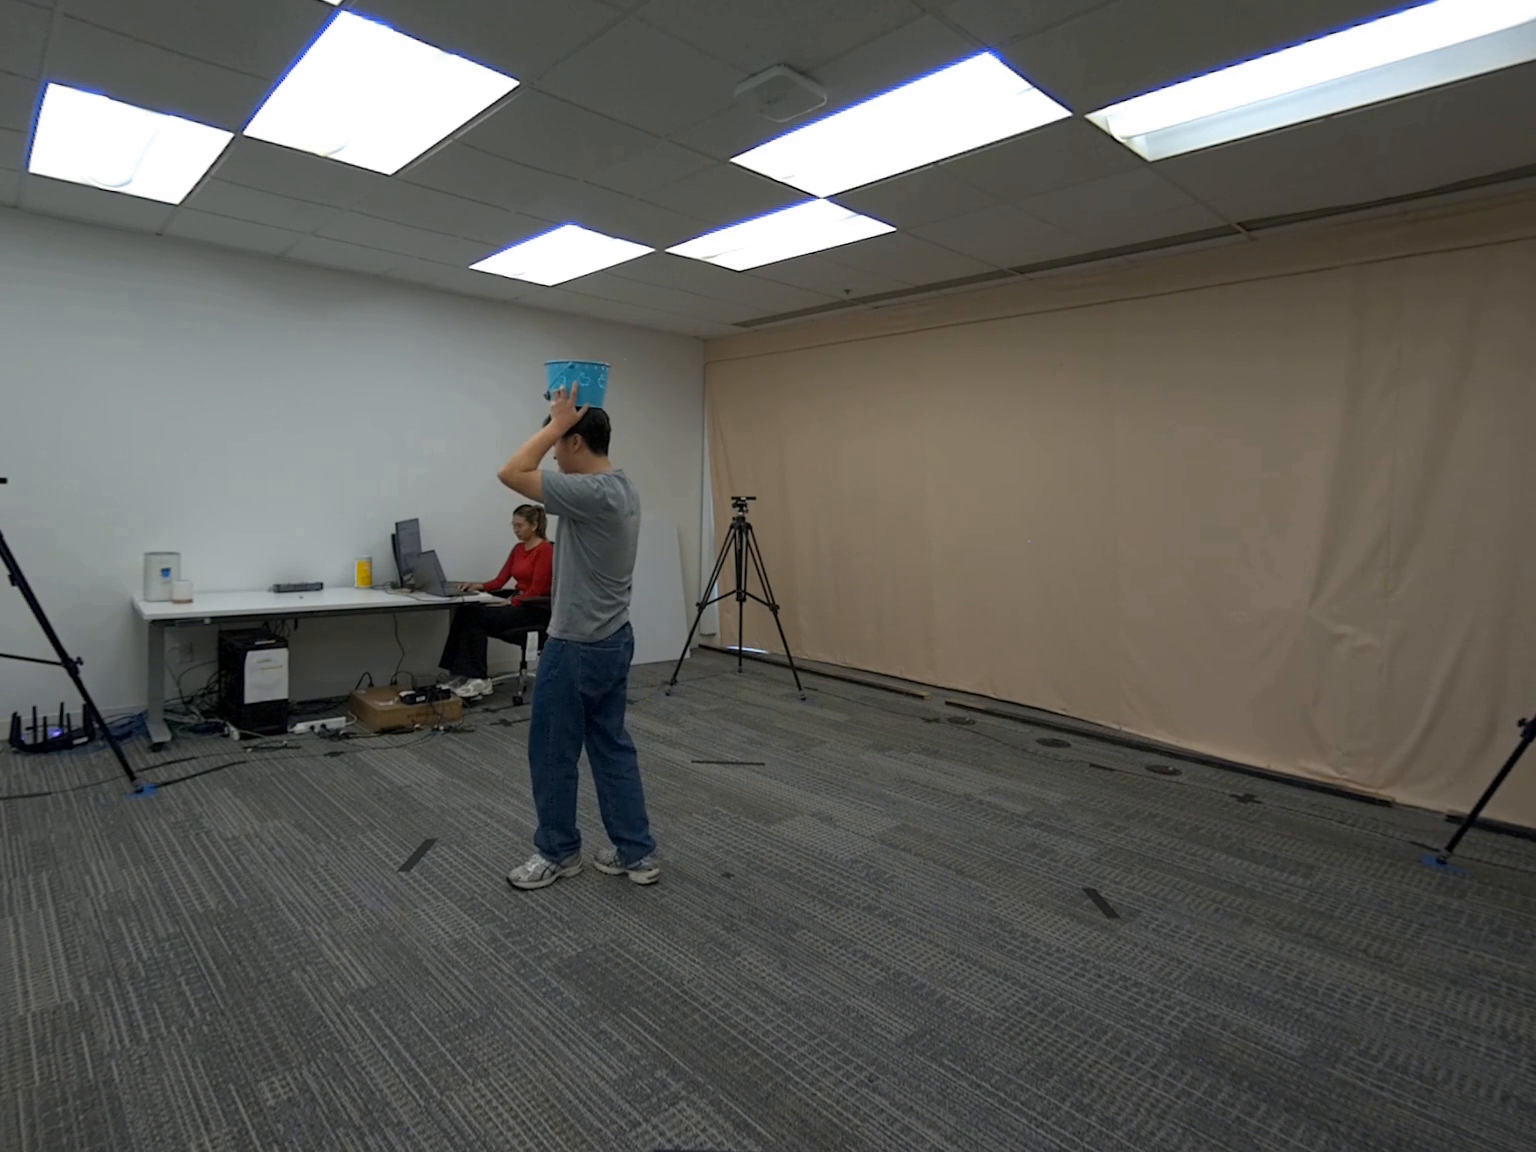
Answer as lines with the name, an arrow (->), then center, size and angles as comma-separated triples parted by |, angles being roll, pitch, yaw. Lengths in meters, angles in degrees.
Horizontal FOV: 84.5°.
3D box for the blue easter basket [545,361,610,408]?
blue easter basket -> -0.695, -0.676, 2.972 | 0.243, 0.155, 0.245 | 2, 6, -2
